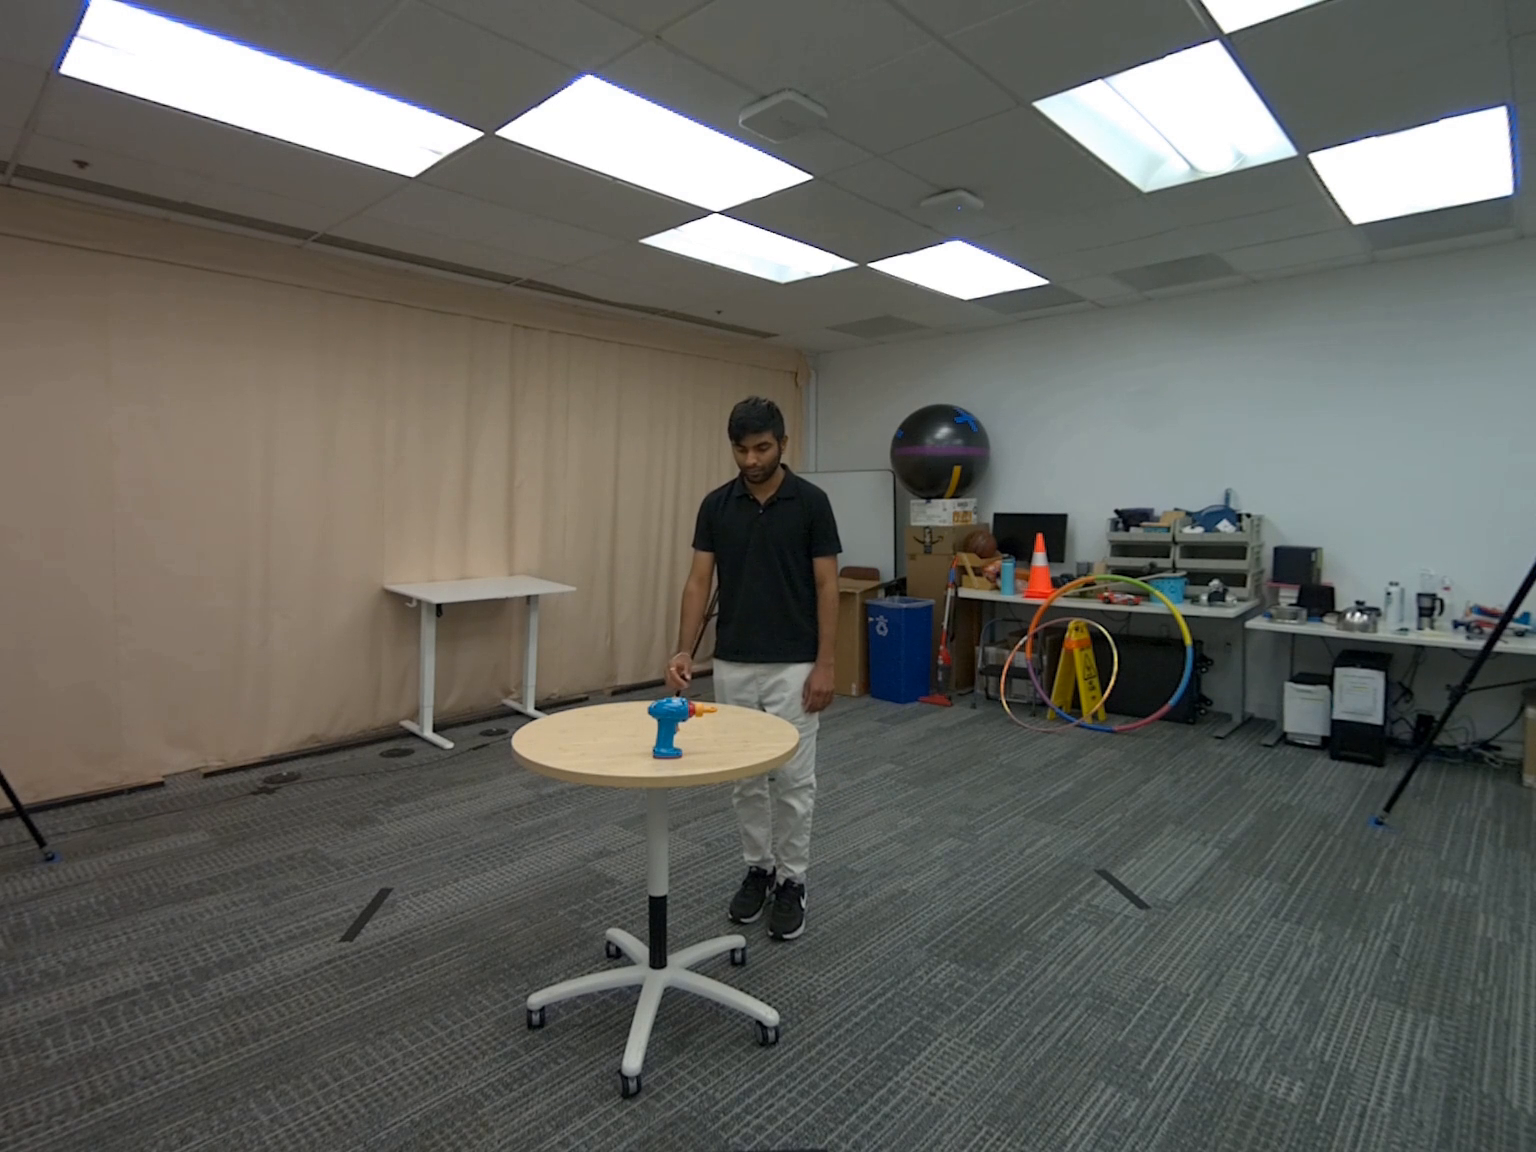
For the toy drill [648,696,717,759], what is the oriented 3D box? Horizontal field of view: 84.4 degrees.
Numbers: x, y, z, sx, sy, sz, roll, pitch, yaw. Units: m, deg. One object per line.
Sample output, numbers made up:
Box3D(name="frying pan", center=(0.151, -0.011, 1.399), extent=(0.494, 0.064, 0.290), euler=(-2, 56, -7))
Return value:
Box3D(name="toy drill", center=(-0.199, 0.365, 2.053), extent=(0.168, 0.146, 0.062), euler=(1, 3, -8))
